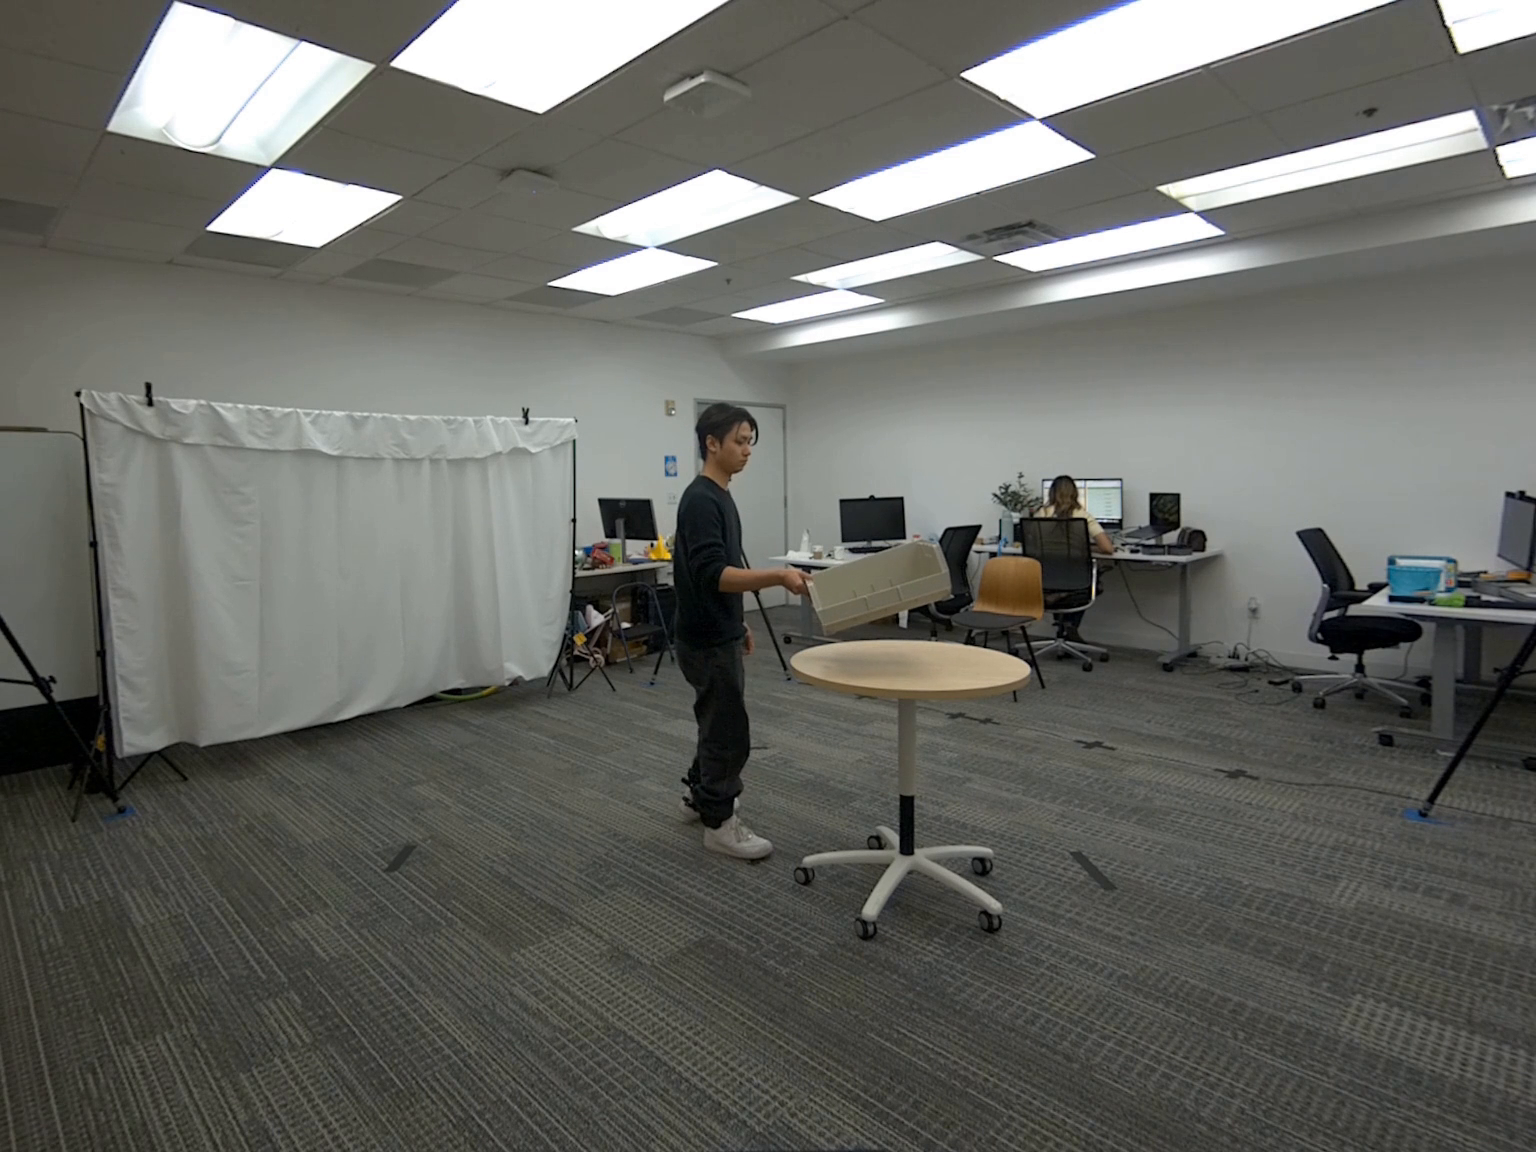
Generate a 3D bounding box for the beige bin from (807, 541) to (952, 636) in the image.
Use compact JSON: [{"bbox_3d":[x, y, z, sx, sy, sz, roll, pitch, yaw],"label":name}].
[{"bbox_3d":[0.355,0.035,2.764,0.424,0.189,0.375,-18,0,7],"label":"beige bin"}]
